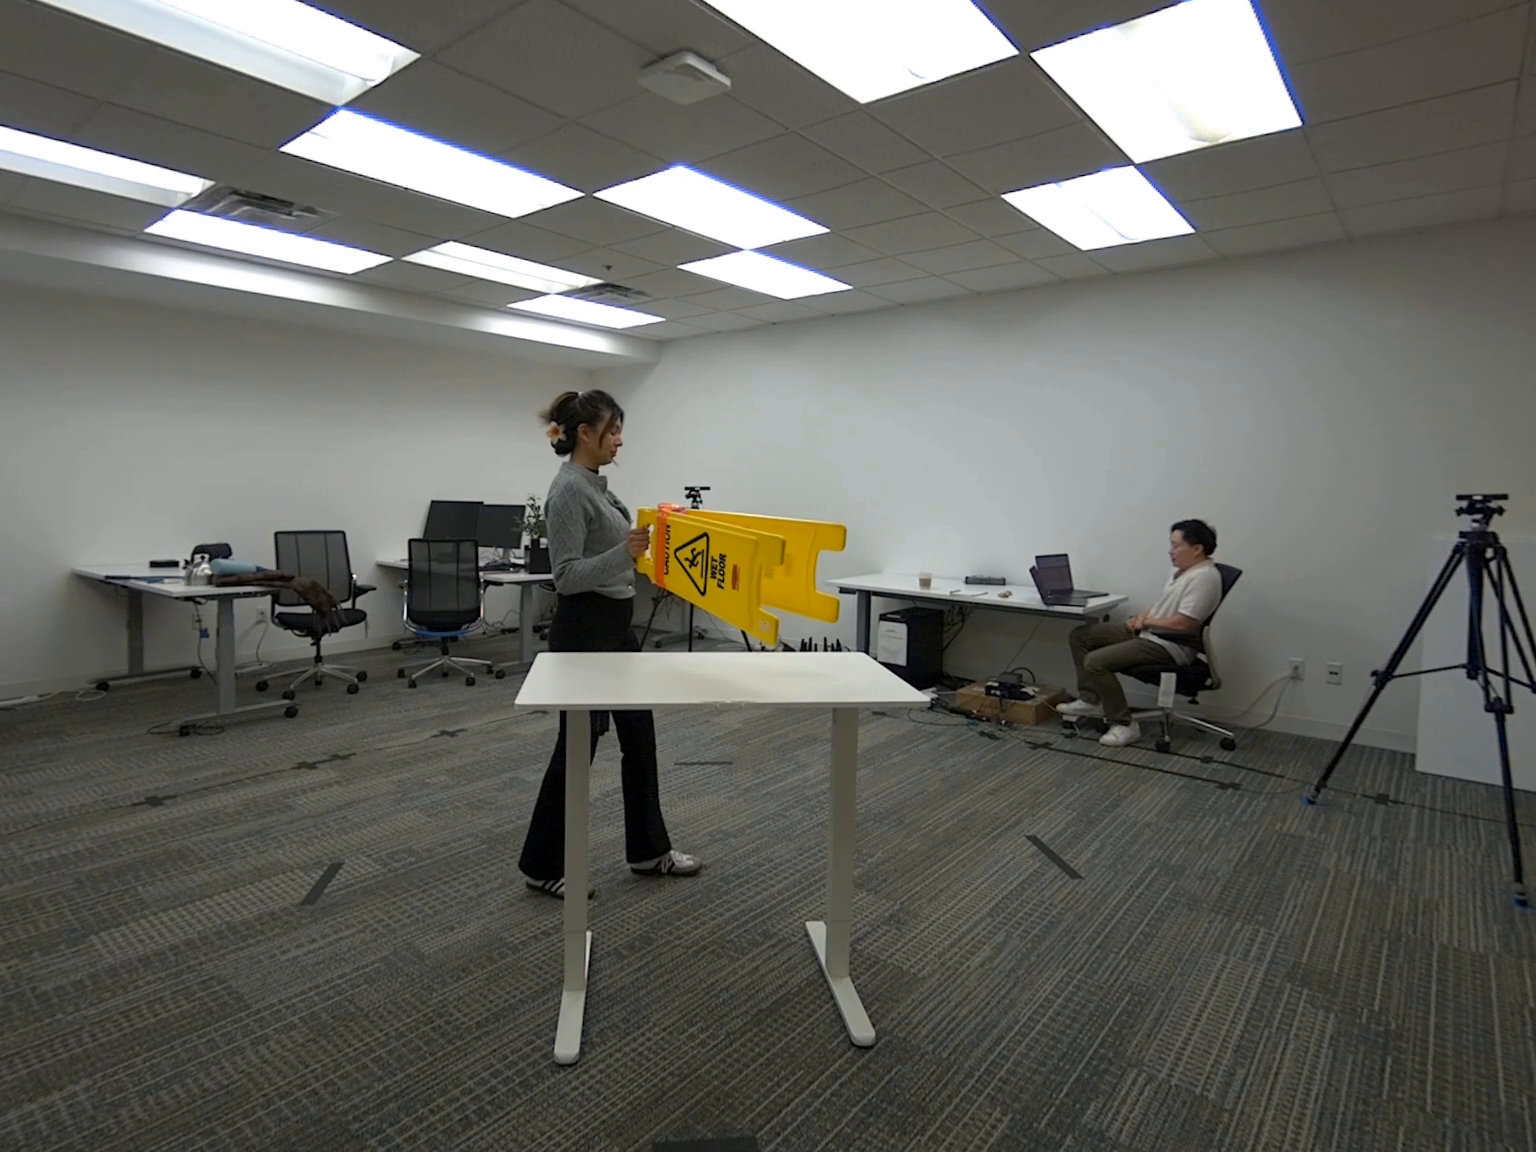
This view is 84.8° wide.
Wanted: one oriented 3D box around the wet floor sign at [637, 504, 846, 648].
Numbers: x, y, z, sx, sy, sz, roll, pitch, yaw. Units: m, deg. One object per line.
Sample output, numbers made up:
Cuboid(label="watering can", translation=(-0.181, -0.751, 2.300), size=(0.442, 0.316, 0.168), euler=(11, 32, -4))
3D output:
Cuboid(label="wet floor sign", translation=(-0.148, -0.049, 2.400), size=(0.670, 0.279, 0.282), euler=(15, 17, 37))
